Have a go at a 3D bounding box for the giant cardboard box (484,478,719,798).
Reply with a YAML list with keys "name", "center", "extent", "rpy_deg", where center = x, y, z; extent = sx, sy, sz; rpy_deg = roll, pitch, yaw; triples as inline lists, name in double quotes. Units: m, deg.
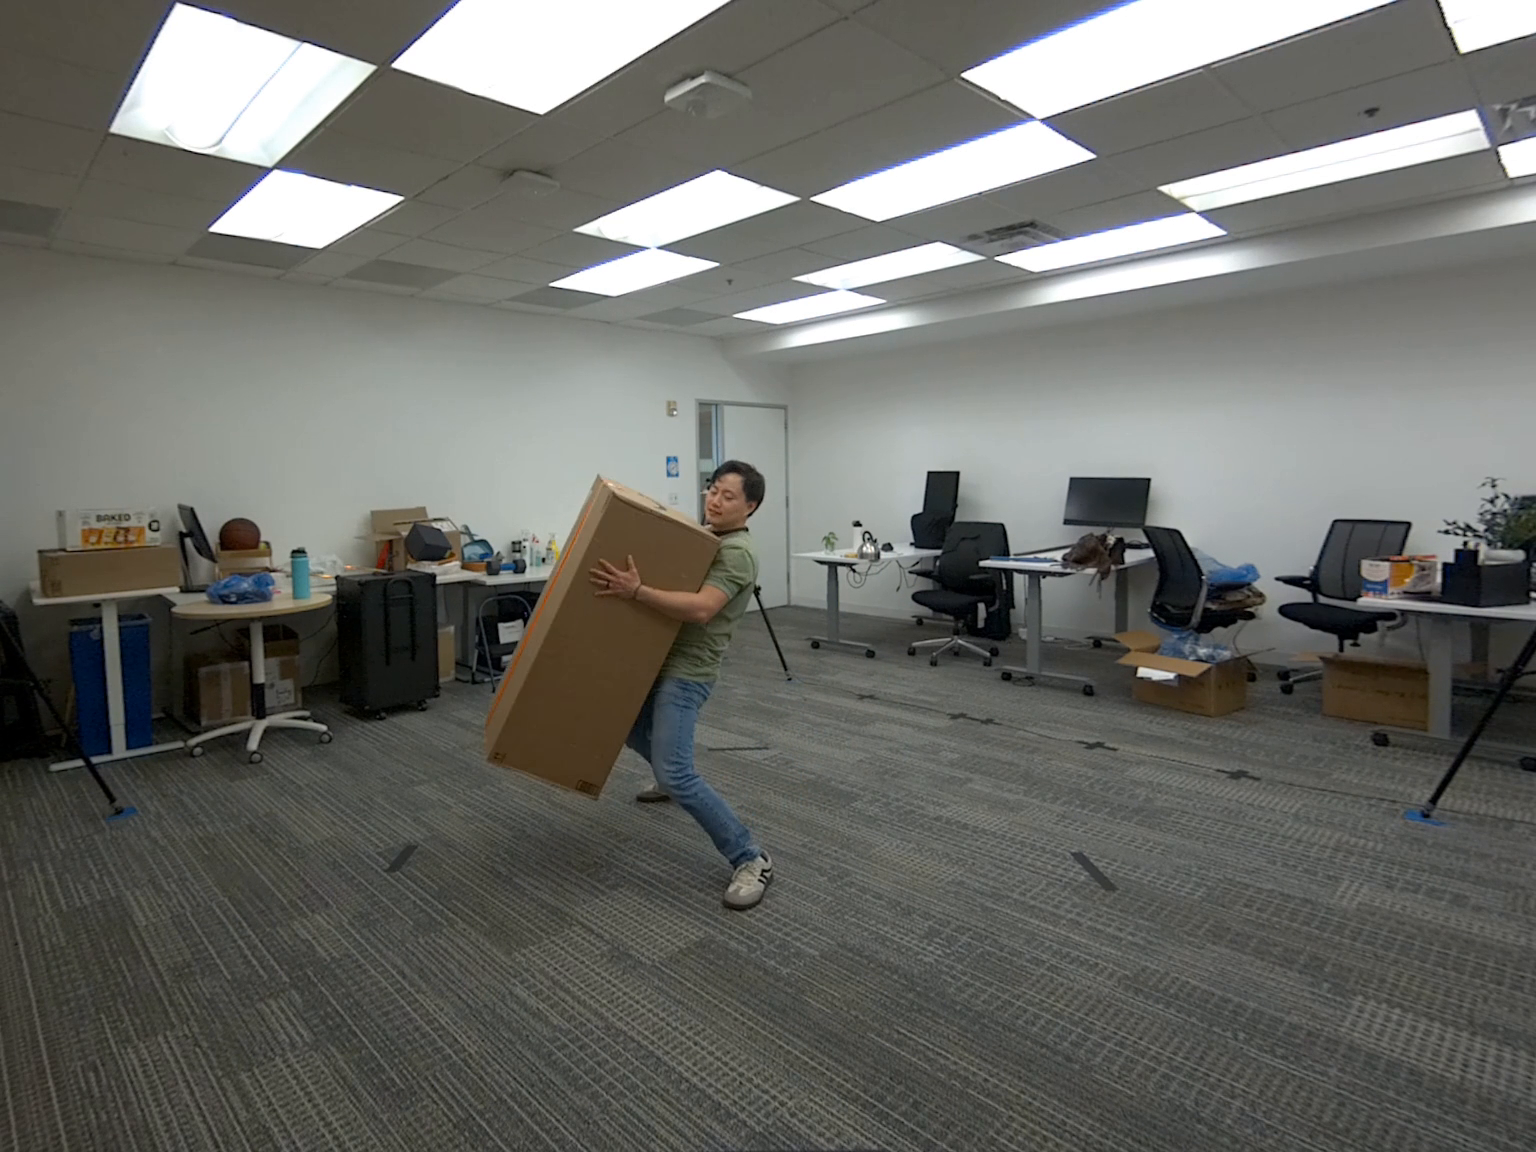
- name: "giant cardboard box"
  center: [-0.638, 0.194, 3.182]
  extent: [0.417, 1.024, 0.591]
  rpy_deg: [25, 3, -19]
